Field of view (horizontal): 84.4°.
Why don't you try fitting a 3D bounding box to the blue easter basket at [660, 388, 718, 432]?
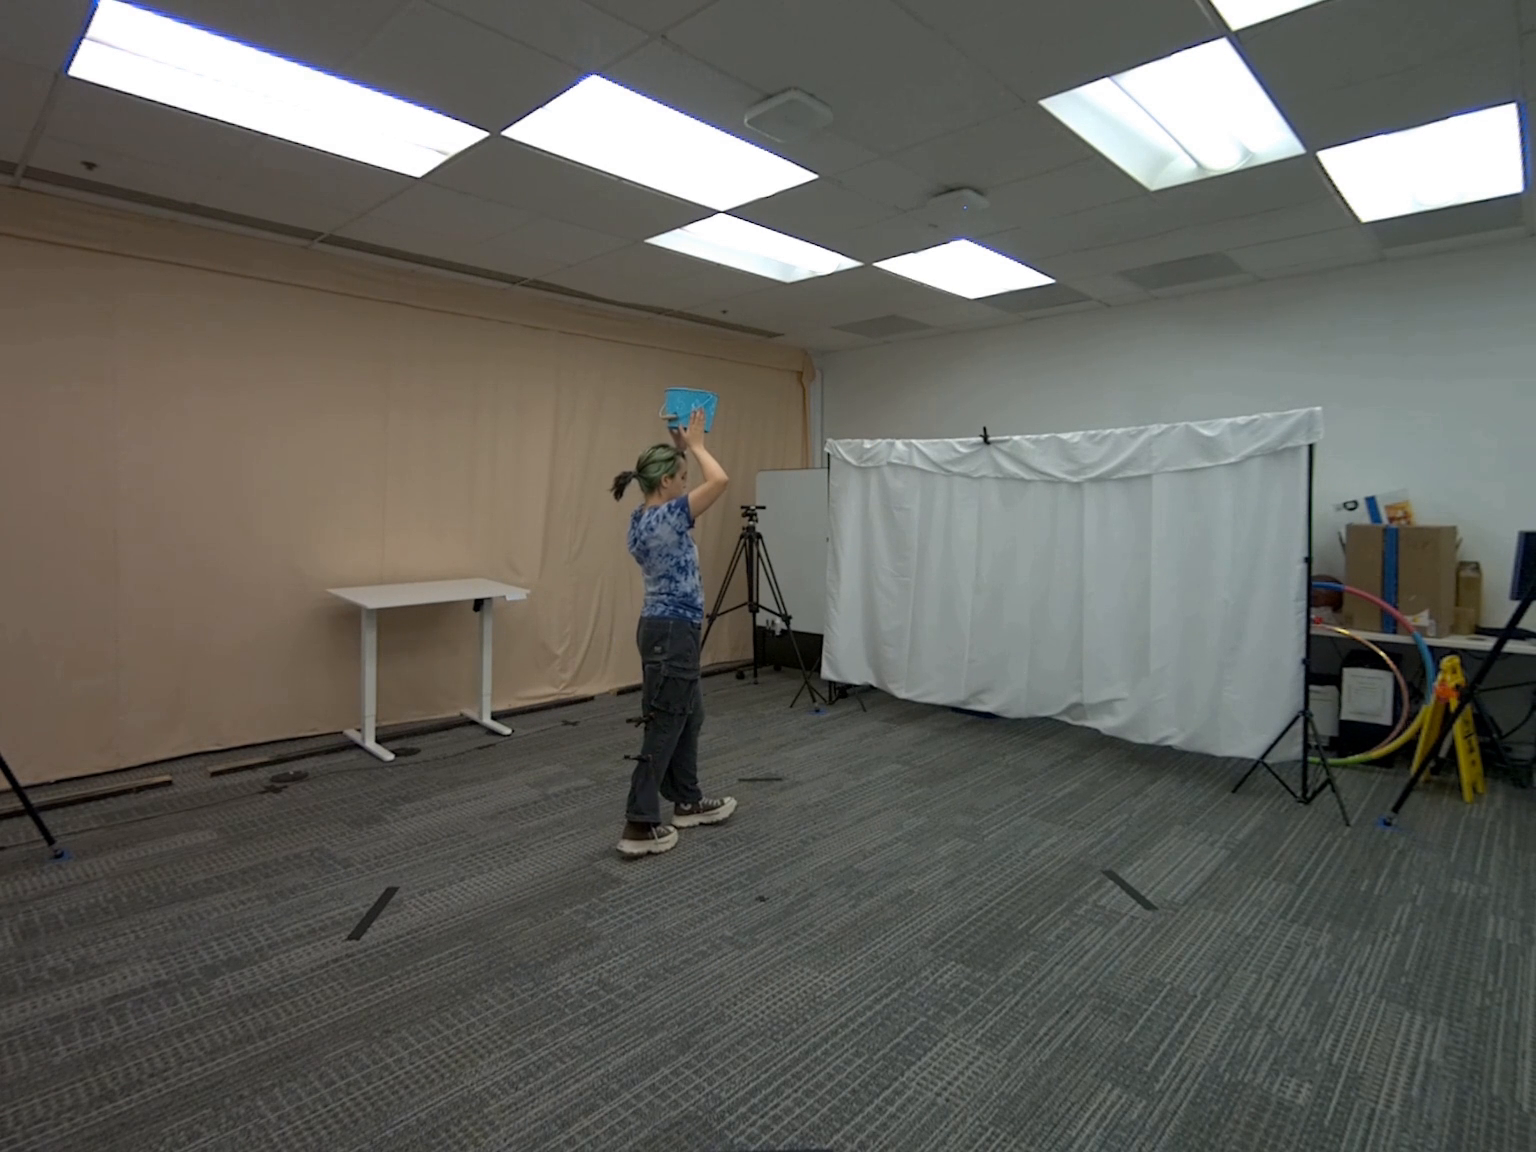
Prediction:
[{"bbox_3d":[-0.336,-0.692,3.534,0.243,0.156,0.244,7,2,-2],"label":"blue easter basket"}]
